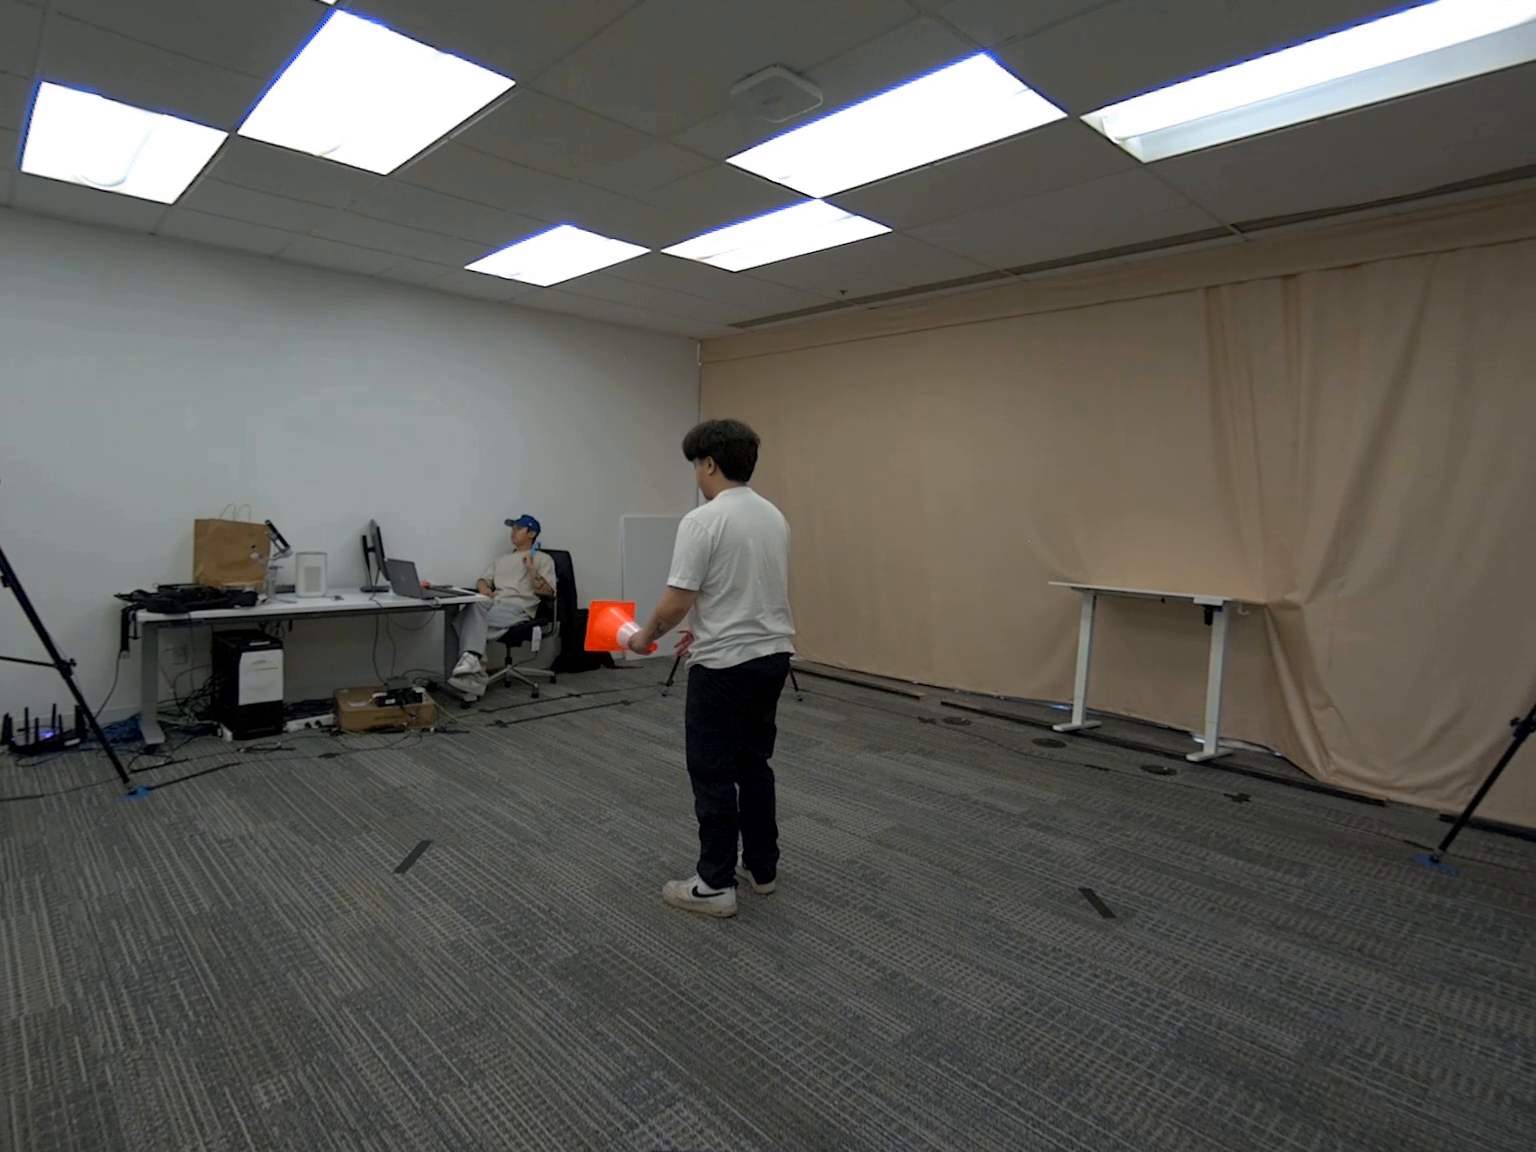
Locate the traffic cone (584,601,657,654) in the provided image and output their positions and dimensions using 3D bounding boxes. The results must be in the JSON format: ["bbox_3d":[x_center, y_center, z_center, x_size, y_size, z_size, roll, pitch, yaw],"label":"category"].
[{"bbox_3d":[-0.515,0.228,3.123,0.200,0.203,0.394,4,6,-33],"label":"traffic cone"}]
